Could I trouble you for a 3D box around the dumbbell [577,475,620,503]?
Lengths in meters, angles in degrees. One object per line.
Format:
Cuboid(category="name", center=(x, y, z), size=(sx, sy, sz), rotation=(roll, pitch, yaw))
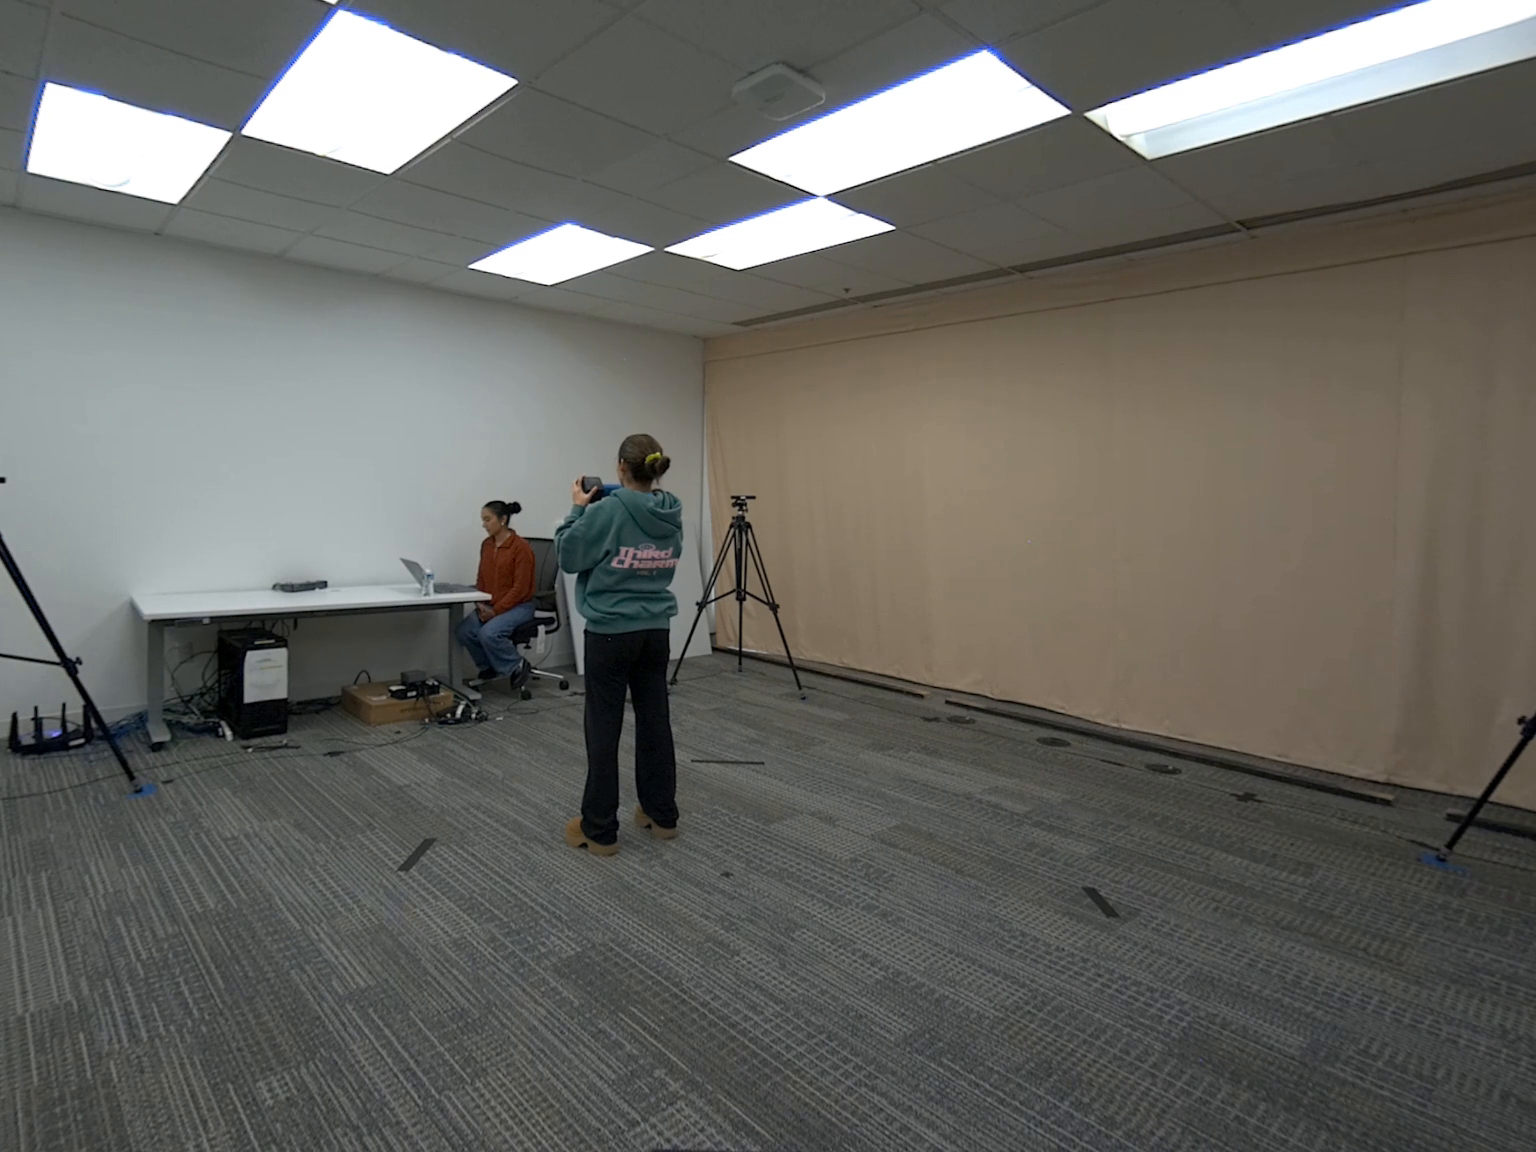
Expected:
Cuboid(category="dumbbell", center=(-0.642, -0.349, 3.462), size=(0.287, 0.125, 0.109), rotation=(-3, -27, -38))
